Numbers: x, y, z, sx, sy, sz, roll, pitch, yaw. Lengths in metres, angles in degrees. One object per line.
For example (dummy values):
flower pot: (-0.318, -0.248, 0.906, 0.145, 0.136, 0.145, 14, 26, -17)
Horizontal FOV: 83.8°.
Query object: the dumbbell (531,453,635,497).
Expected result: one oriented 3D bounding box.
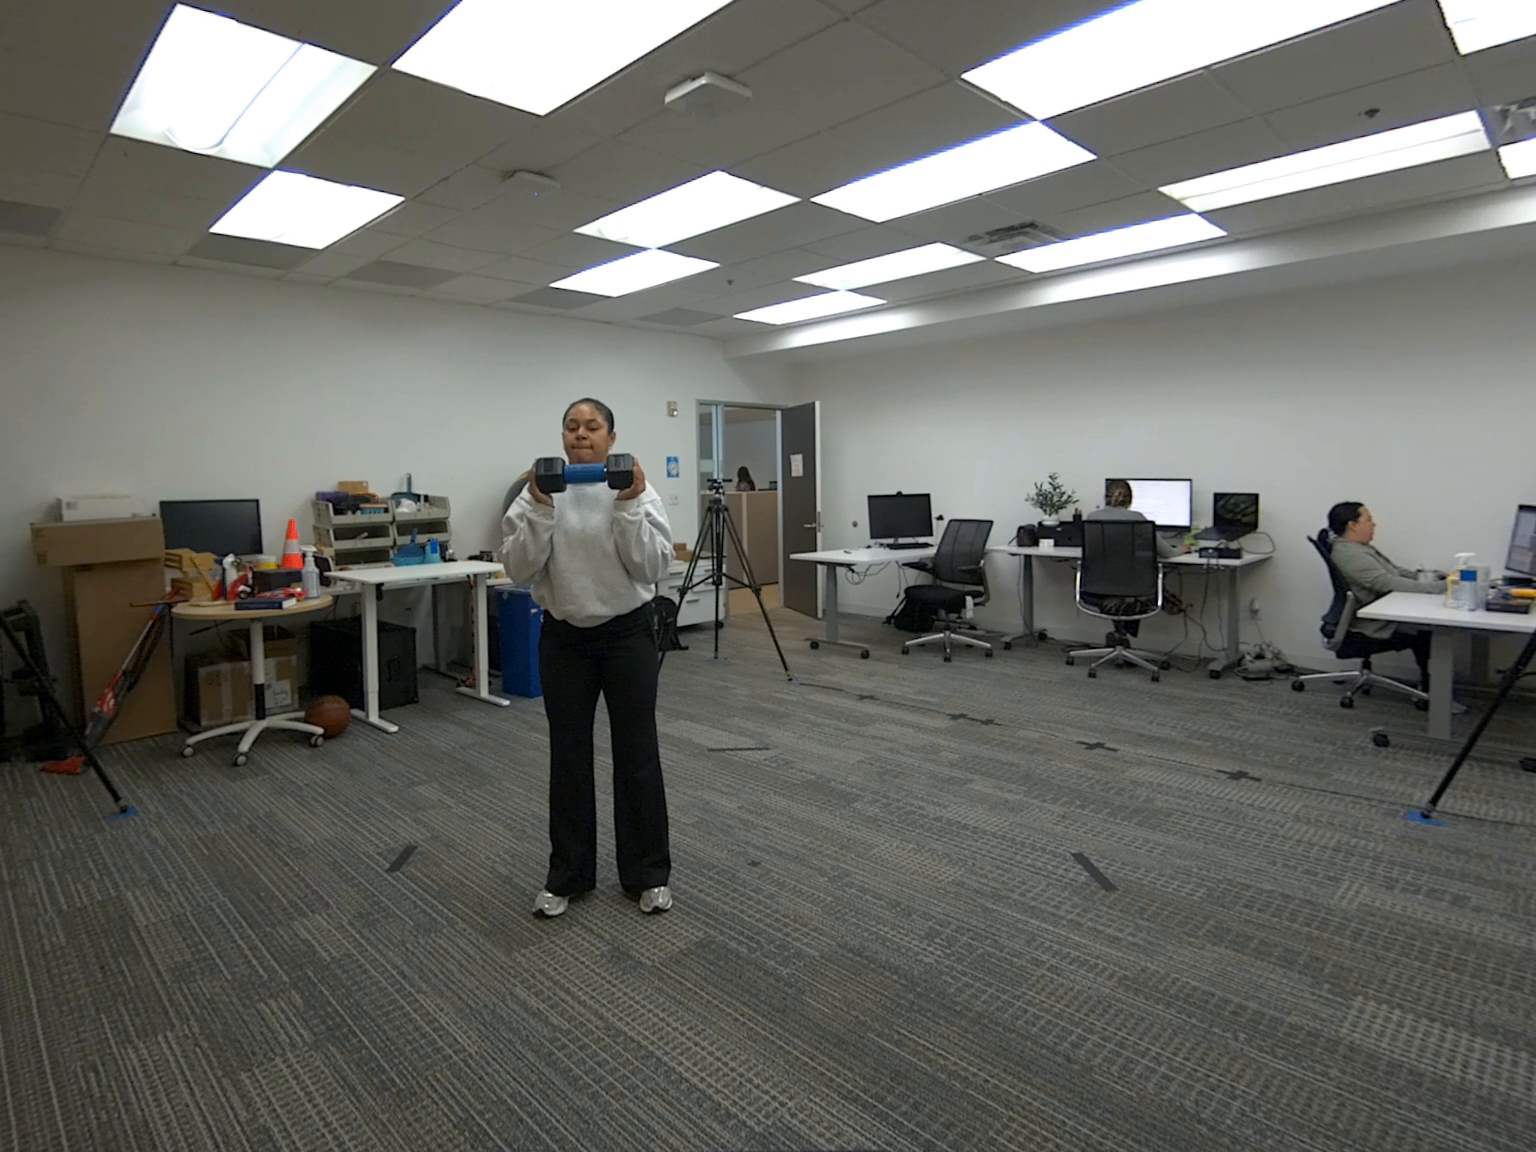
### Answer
dumbbell: (-0.556, -0.306, 2.584, 0.293, 0.126, 0.106, -3, -28, -1)
